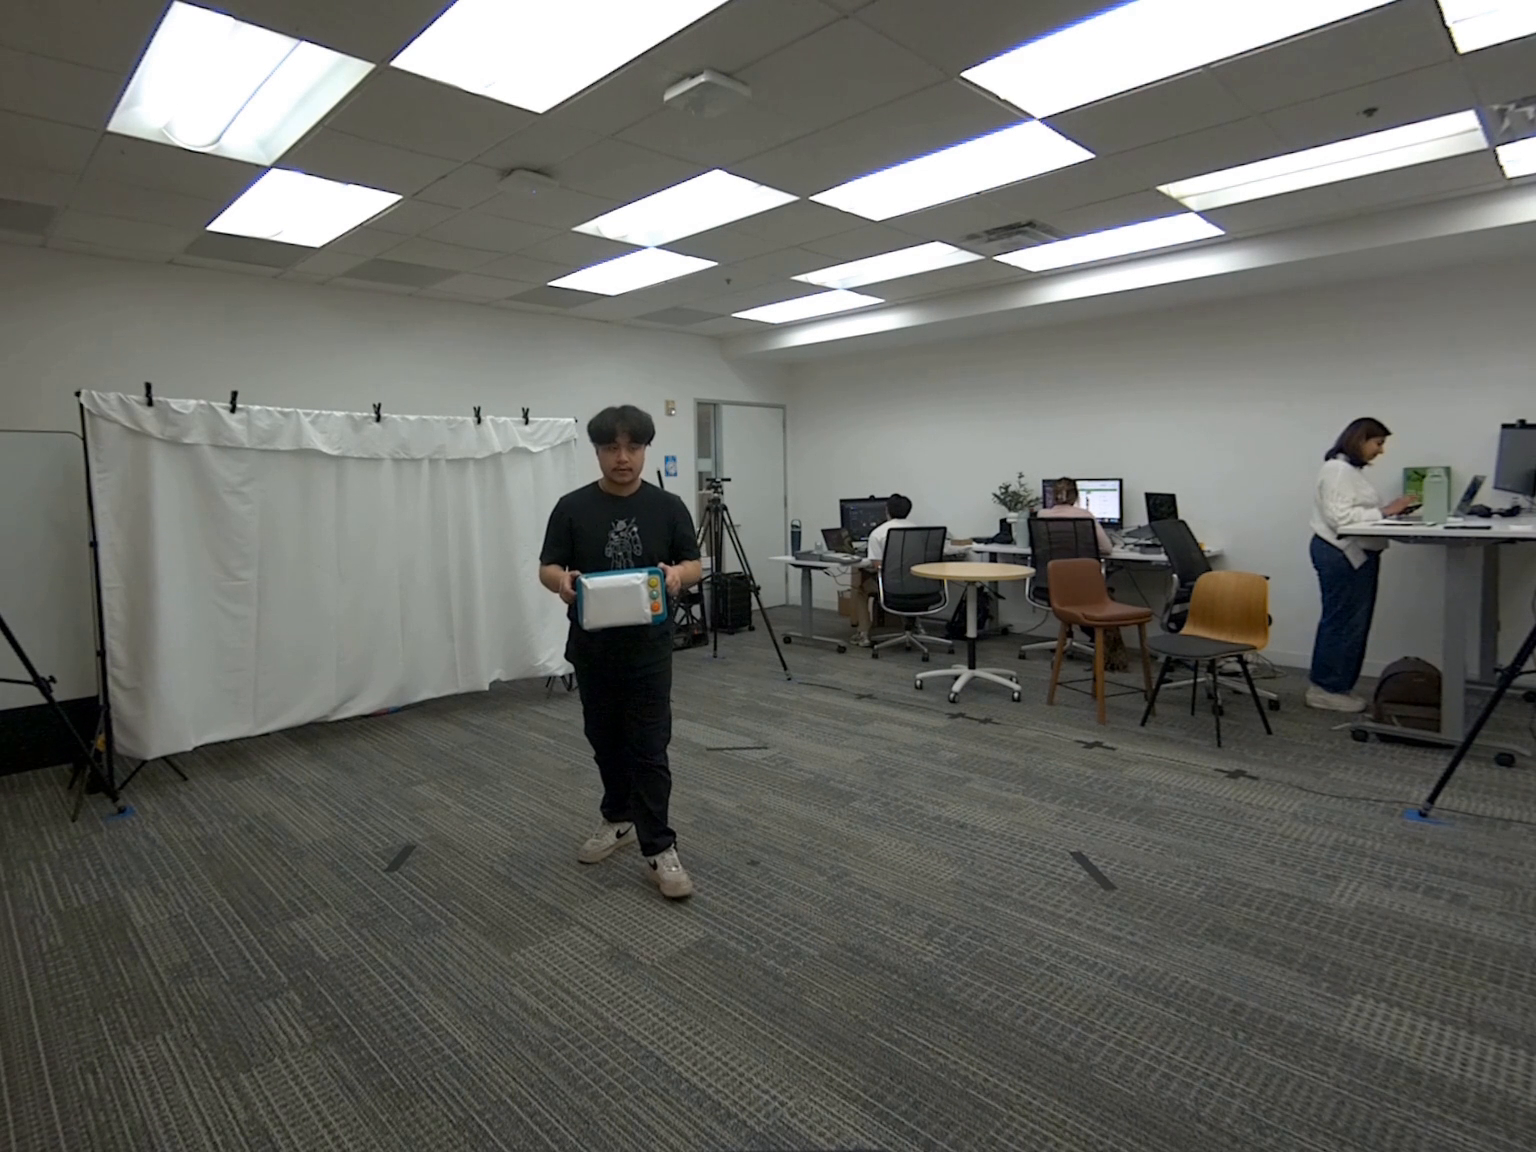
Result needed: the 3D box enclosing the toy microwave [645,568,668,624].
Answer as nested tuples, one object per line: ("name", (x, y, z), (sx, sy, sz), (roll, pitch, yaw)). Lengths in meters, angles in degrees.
("toy microwave", (-0.469, 0.075, 2.781), (0.283, 0.184, 0.154), (-7, 1, -13))
